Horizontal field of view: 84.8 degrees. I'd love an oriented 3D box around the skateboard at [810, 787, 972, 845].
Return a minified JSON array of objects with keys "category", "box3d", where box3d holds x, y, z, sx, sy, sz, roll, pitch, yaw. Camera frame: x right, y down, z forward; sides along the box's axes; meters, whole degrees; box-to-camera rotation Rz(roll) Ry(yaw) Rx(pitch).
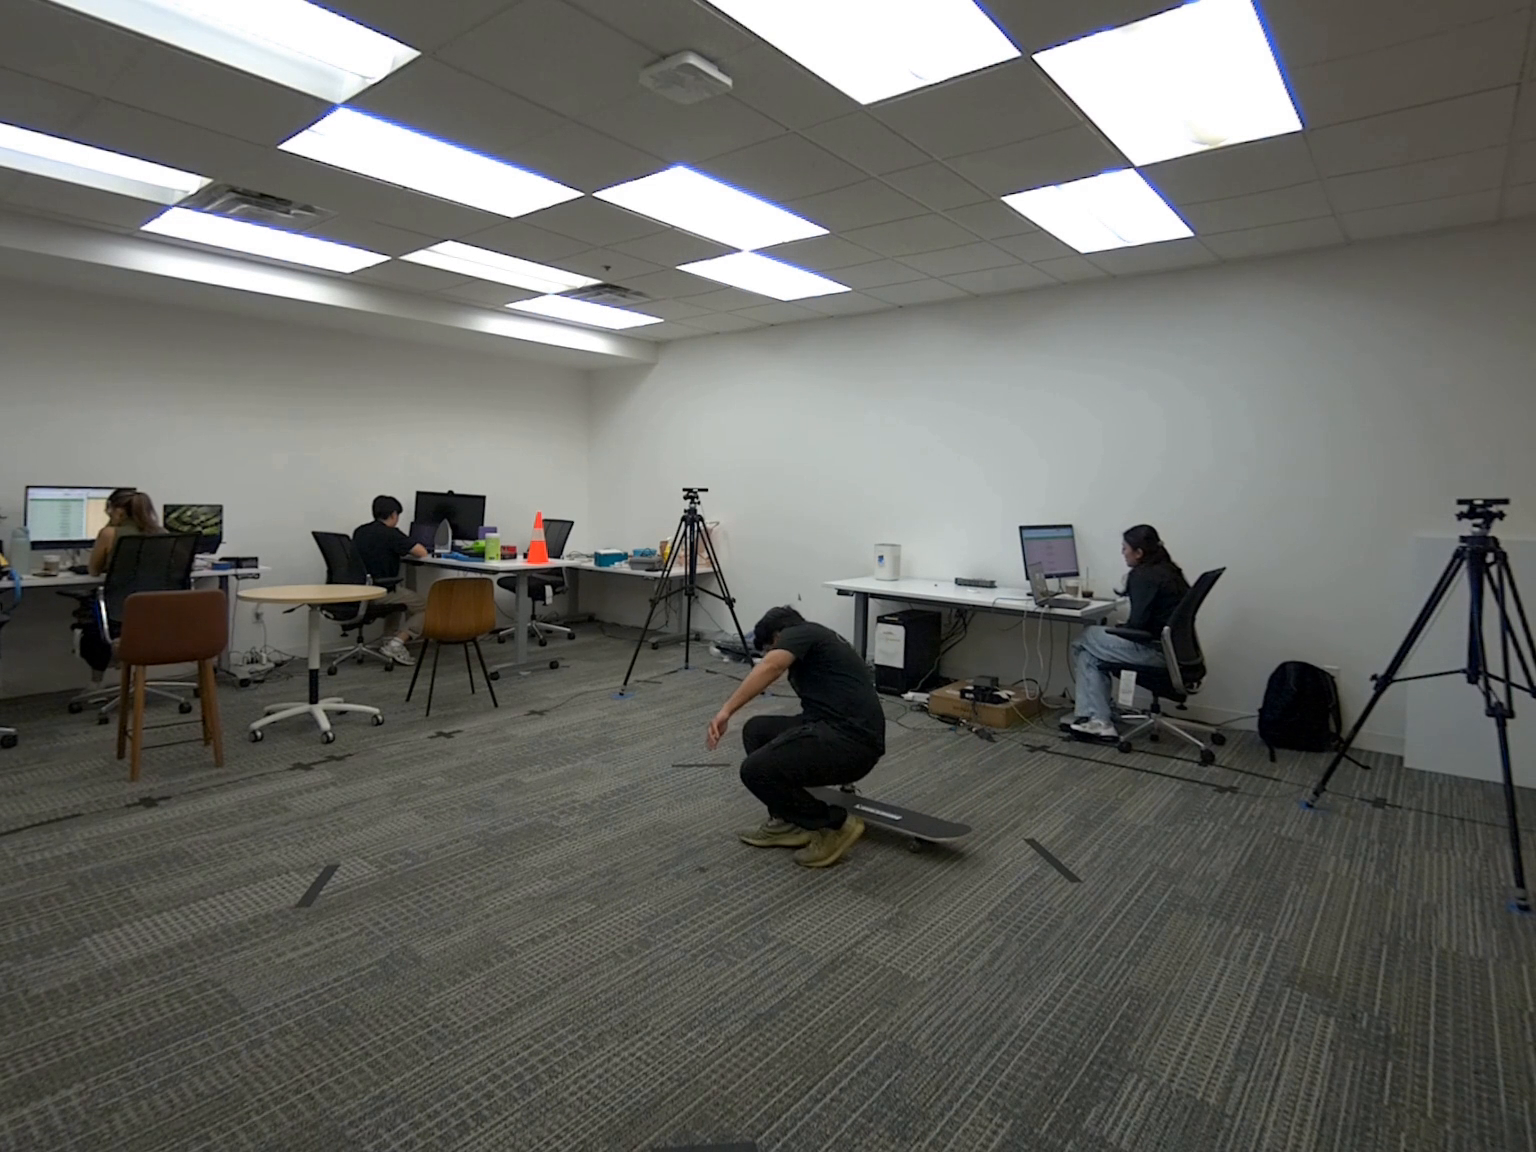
[{"category":"skateboard","box3d":[0.442,0.993,3.489,0.811,0.110,0.188,6,9,36]}]
